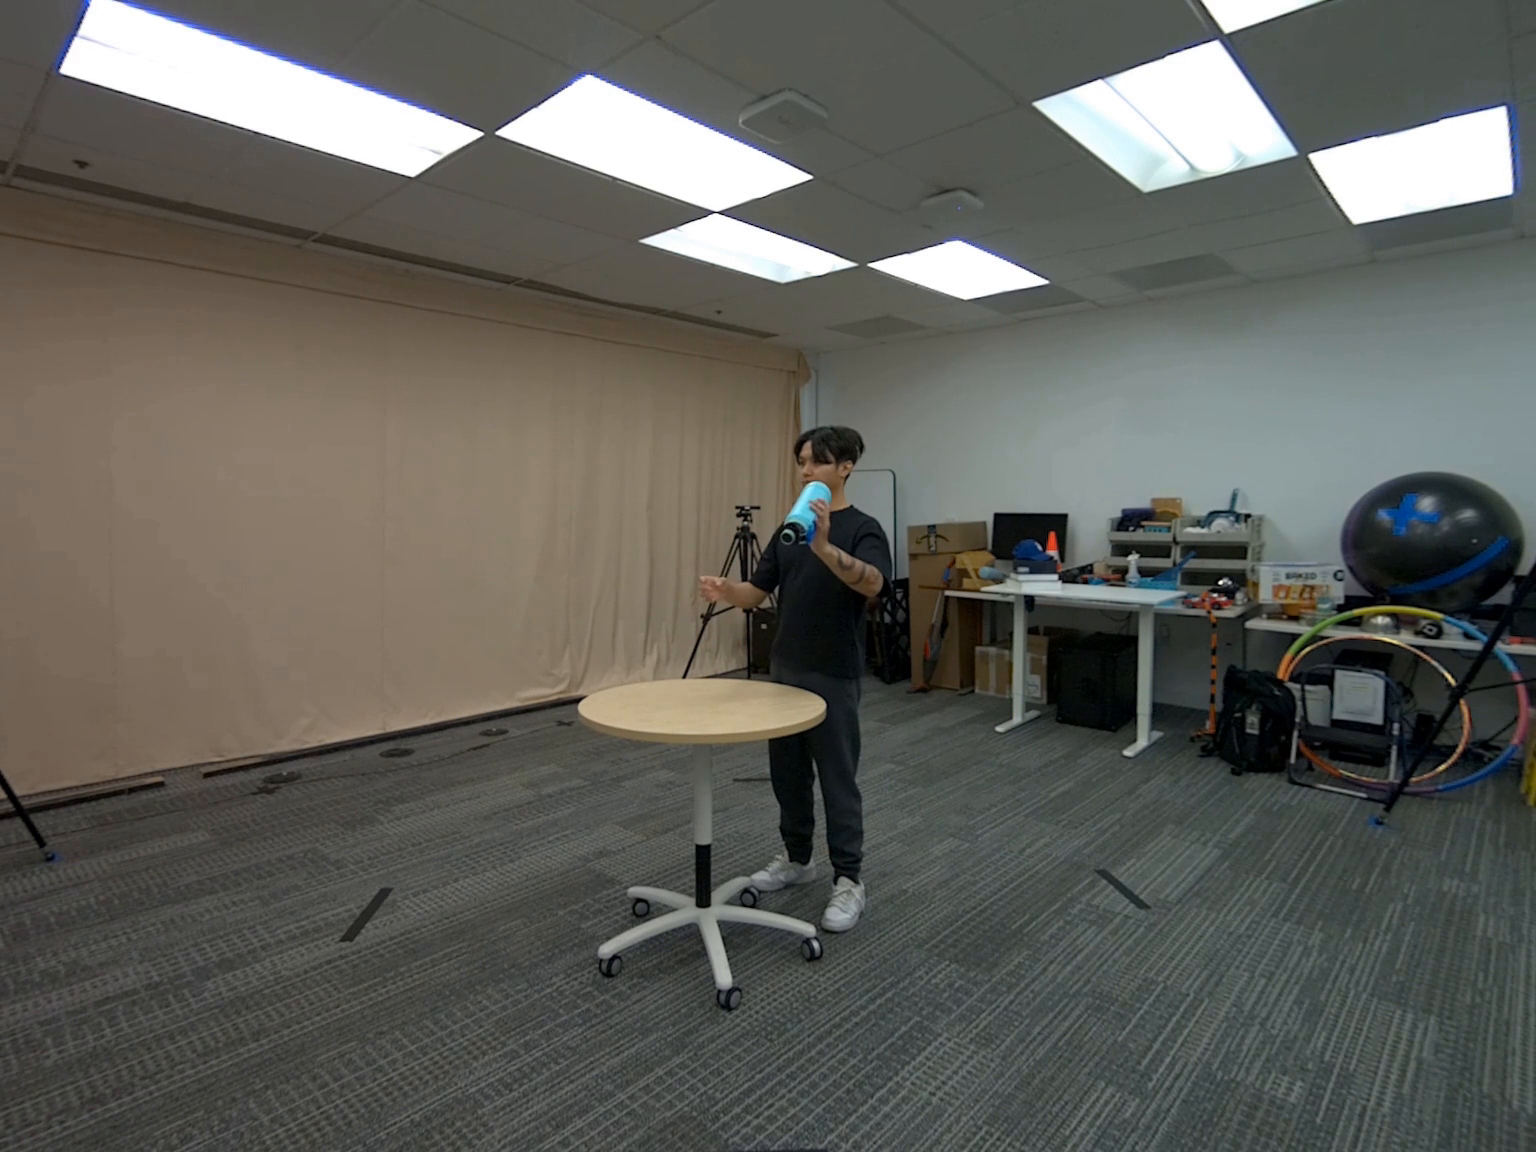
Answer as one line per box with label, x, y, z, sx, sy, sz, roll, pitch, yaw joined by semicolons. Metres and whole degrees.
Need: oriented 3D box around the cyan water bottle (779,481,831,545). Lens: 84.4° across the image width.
cyan water bottle;0.108;-0.168;2.457;0.094;0.090;0.284;1;33;18
